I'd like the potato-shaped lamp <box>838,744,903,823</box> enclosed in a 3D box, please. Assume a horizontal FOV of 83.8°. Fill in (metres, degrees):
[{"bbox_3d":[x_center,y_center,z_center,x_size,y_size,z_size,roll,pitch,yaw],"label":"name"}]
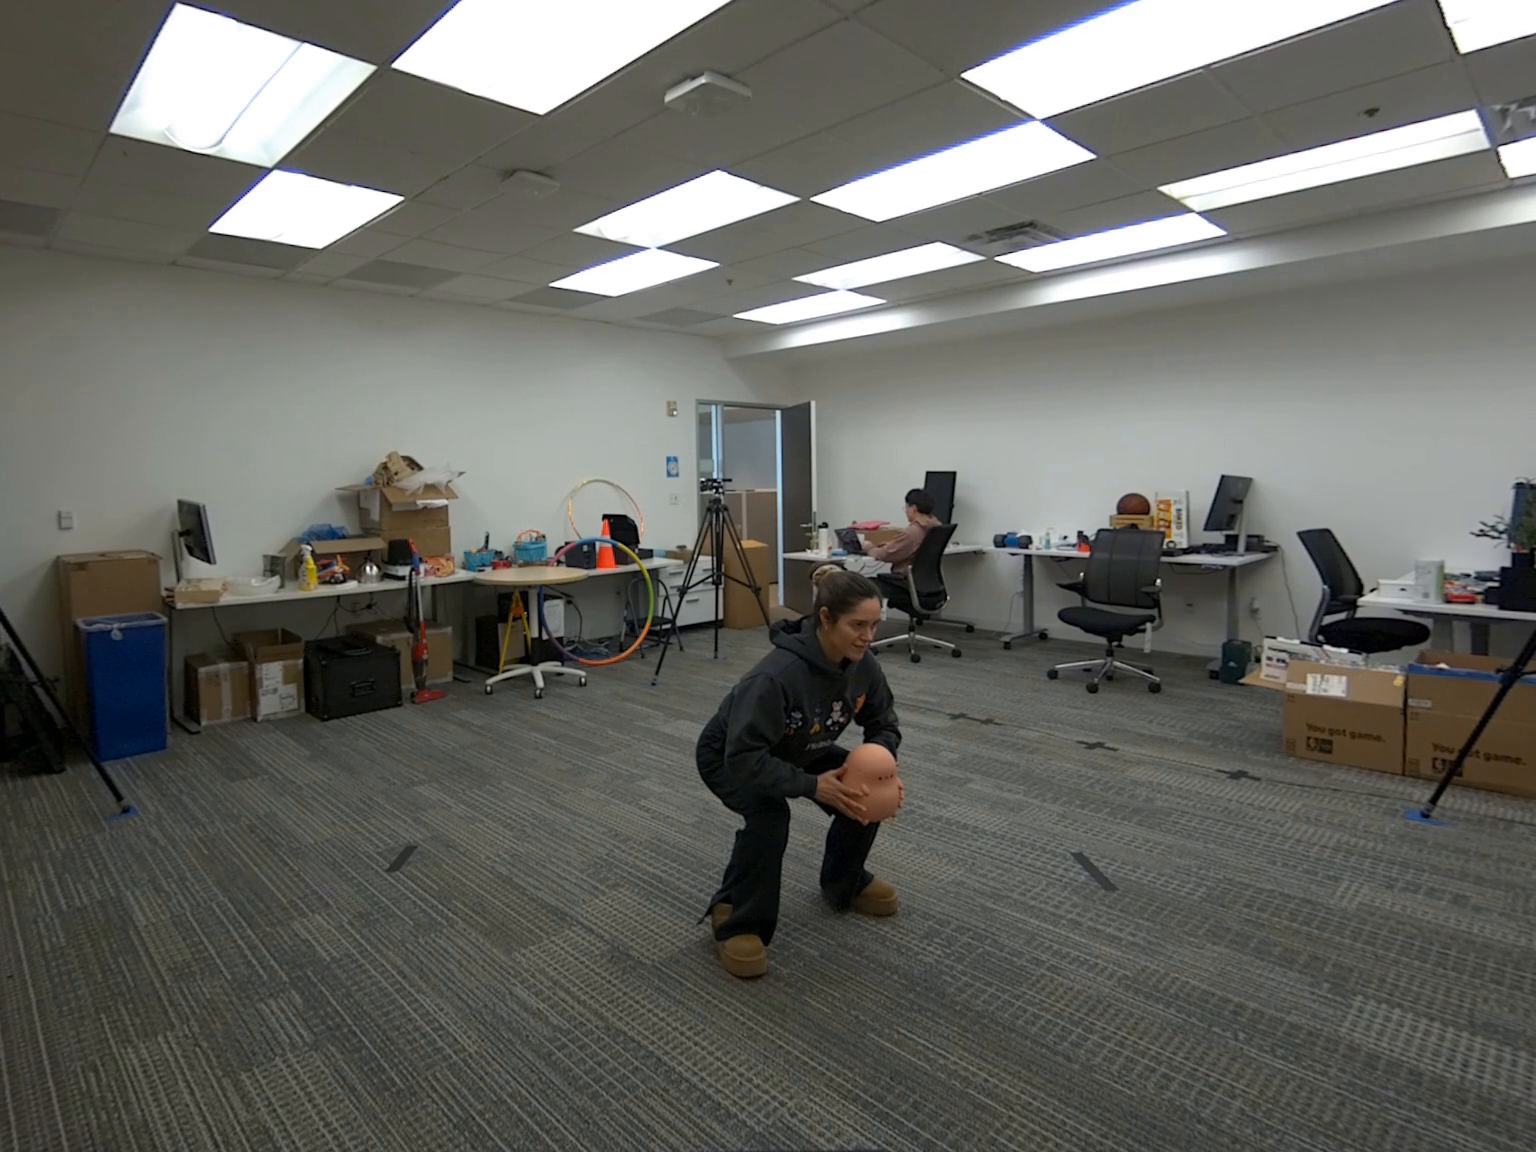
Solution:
[{"bbox_3d":[0.281,0.568,2.380,0.161,0.195,0.177,-1,20,-26],"label":"potato-shaped lamp"}]
